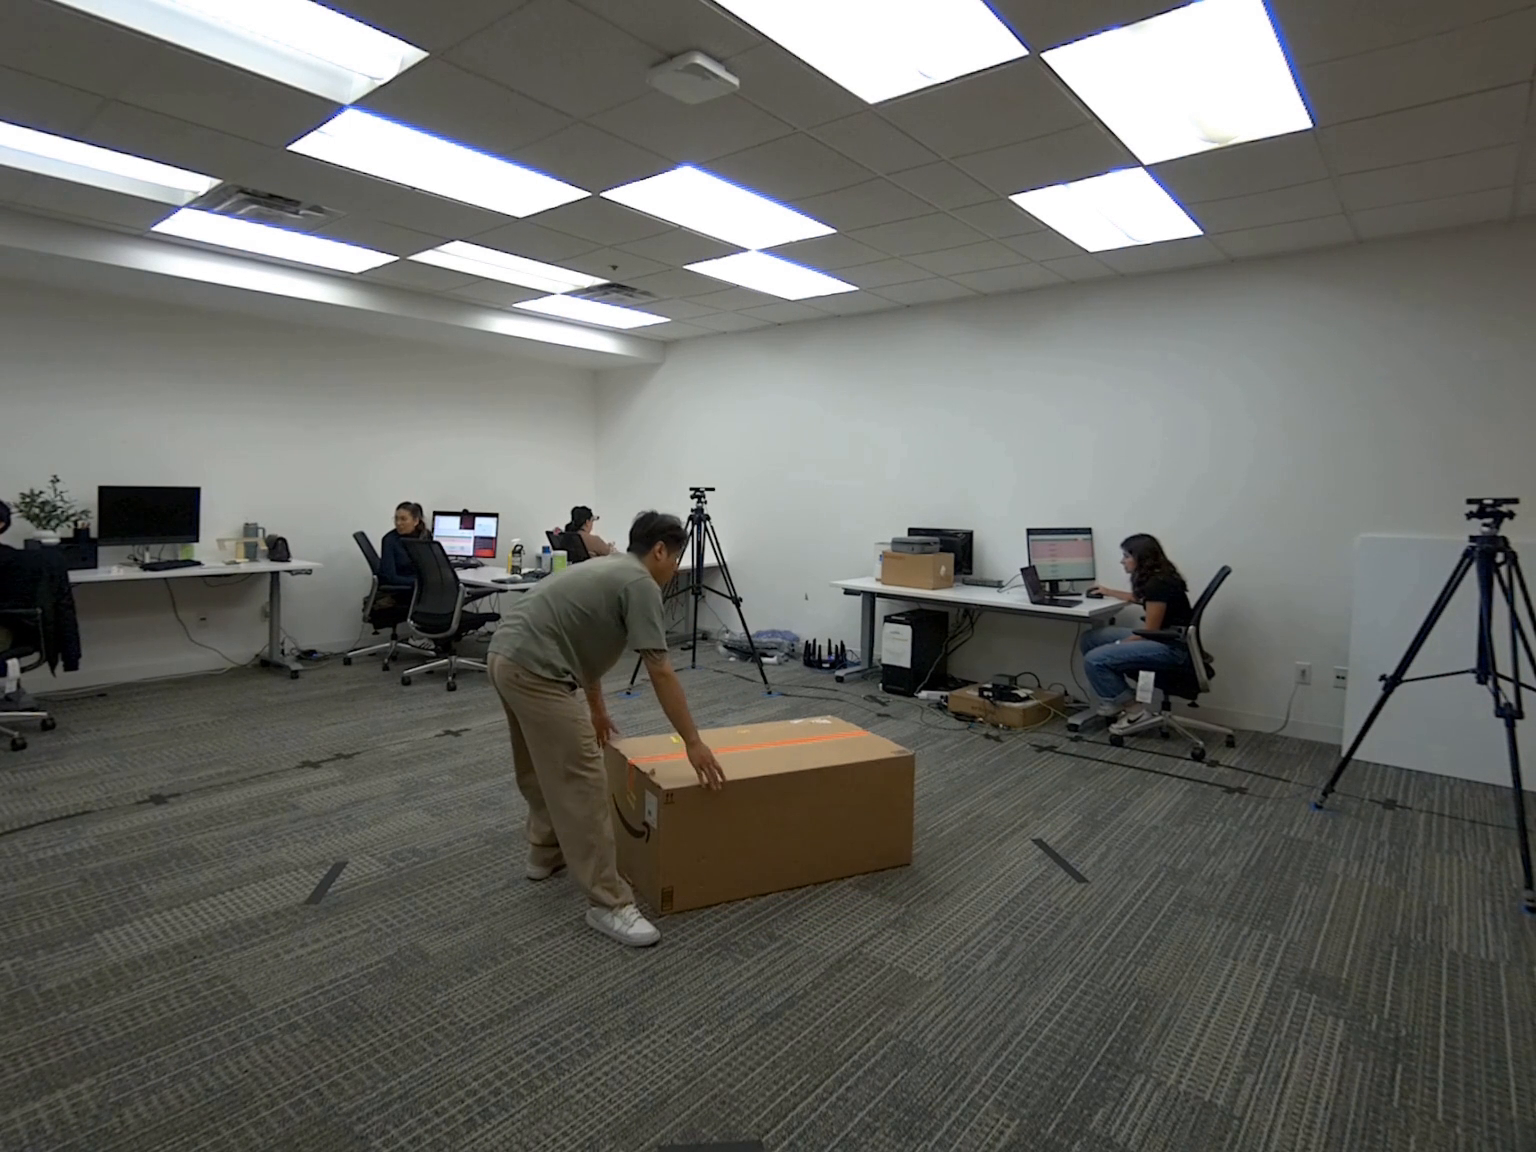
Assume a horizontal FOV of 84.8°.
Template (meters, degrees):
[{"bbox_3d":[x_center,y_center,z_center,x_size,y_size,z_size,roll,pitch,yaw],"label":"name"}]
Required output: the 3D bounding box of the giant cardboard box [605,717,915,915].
[{"bbox_3d":[-0.048,0.843,3.208,1.000,0.424,0.594,-2,6,-27],"label":"giant cardboard box"}]
